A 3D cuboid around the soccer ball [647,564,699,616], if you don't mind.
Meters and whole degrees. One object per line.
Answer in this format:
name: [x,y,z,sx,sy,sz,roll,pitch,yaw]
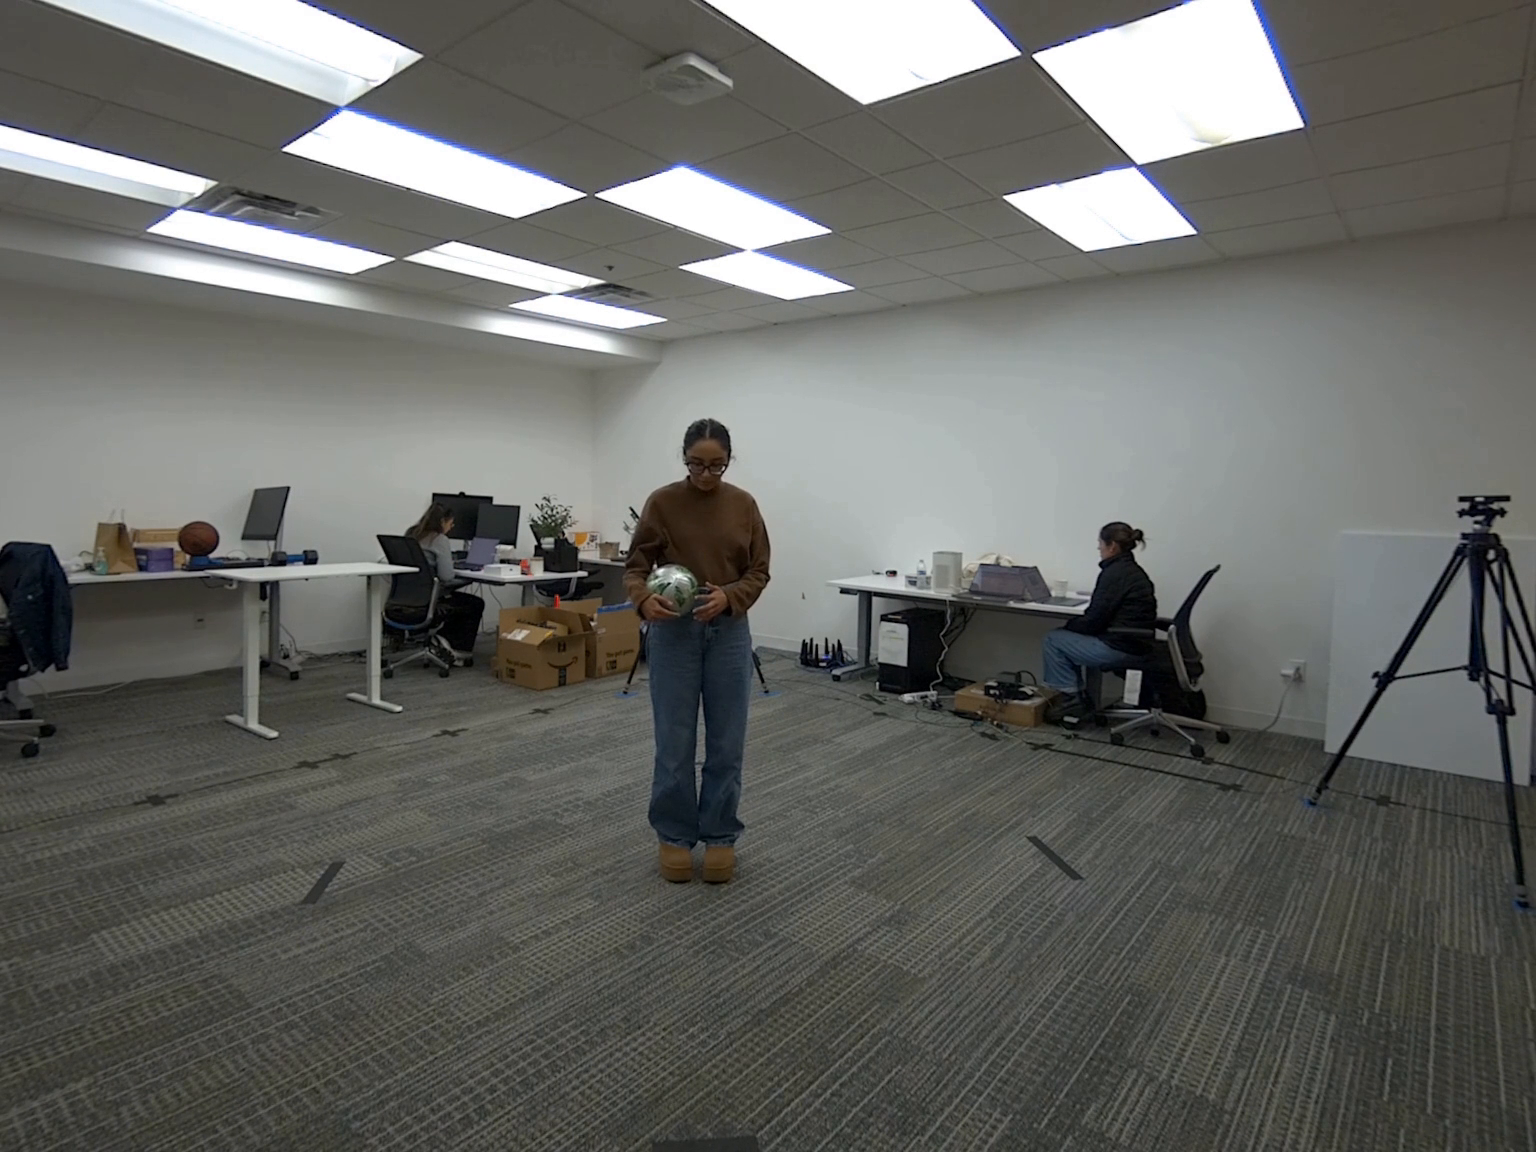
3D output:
soccer ball: [-0.347,0.048,2.905,0.187,0.187,0.188,1,4,-2]
